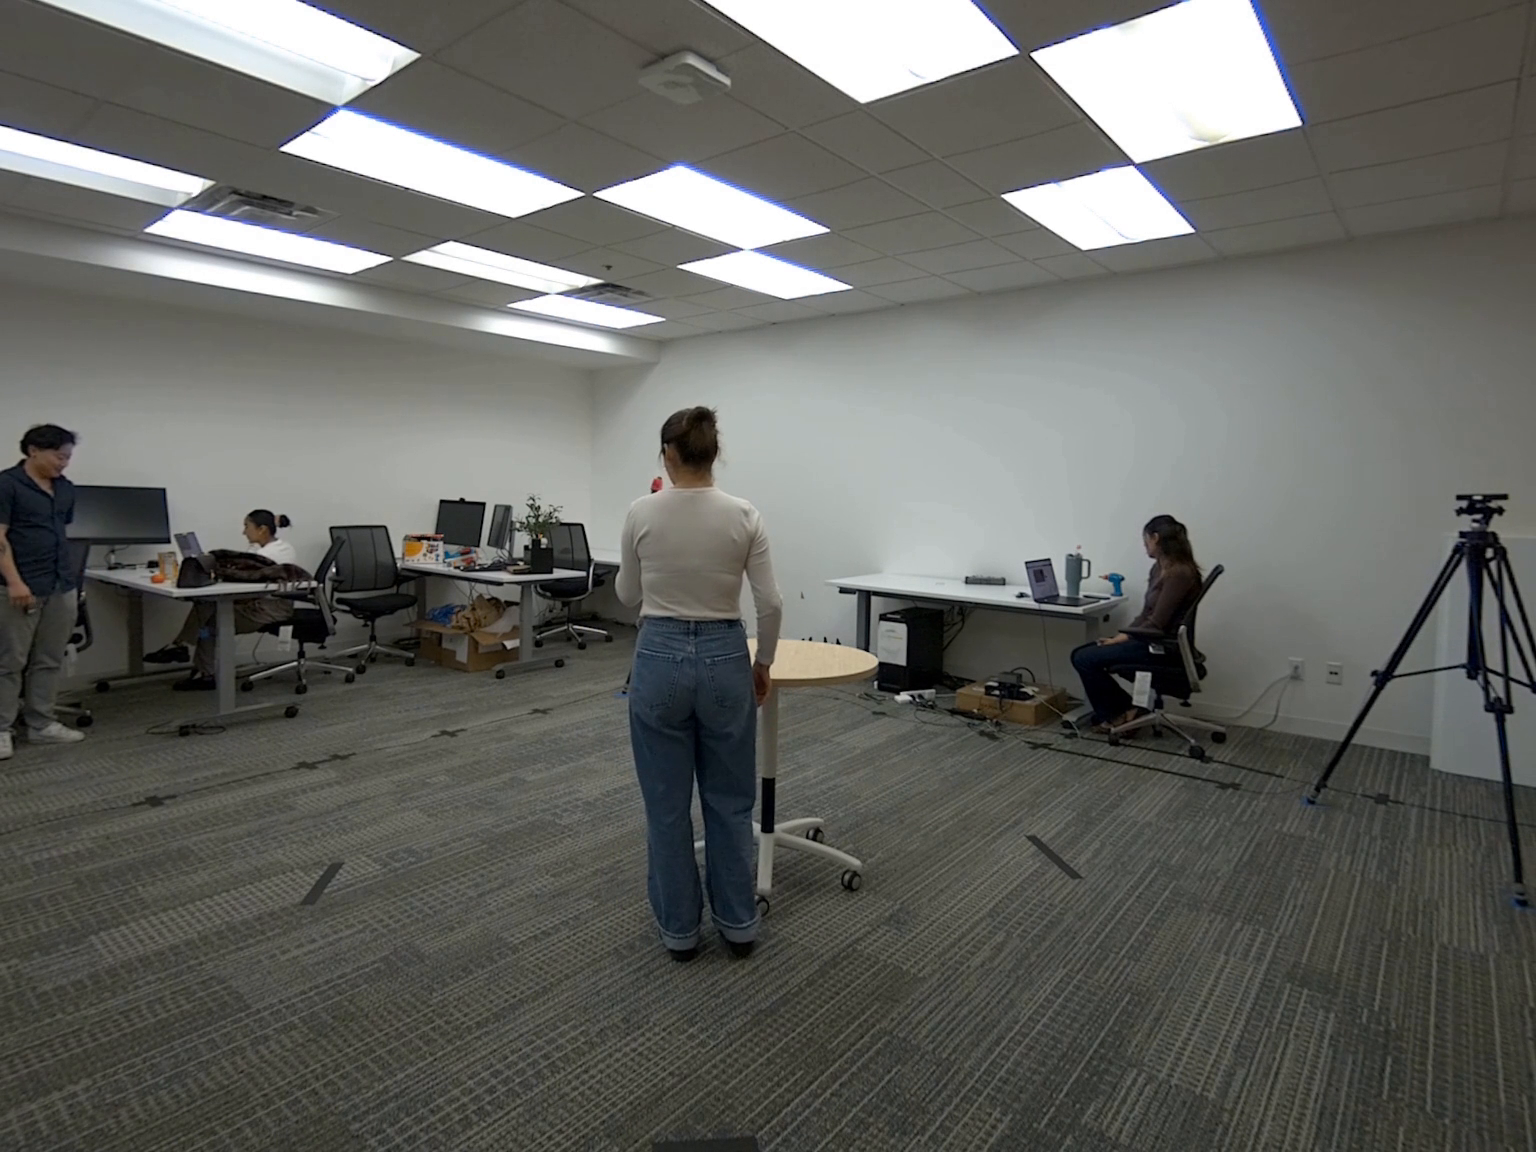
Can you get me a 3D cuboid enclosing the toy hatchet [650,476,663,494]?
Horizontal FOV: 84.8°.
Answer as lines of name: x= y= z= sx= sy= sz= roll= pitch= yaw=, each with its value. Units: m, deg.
toy hatchet: x=-0.404 y=-0.203 z=2.824 sx=0.030 sy=0.270 sz=0.130 roll=15 pitch=2 yaw=3
